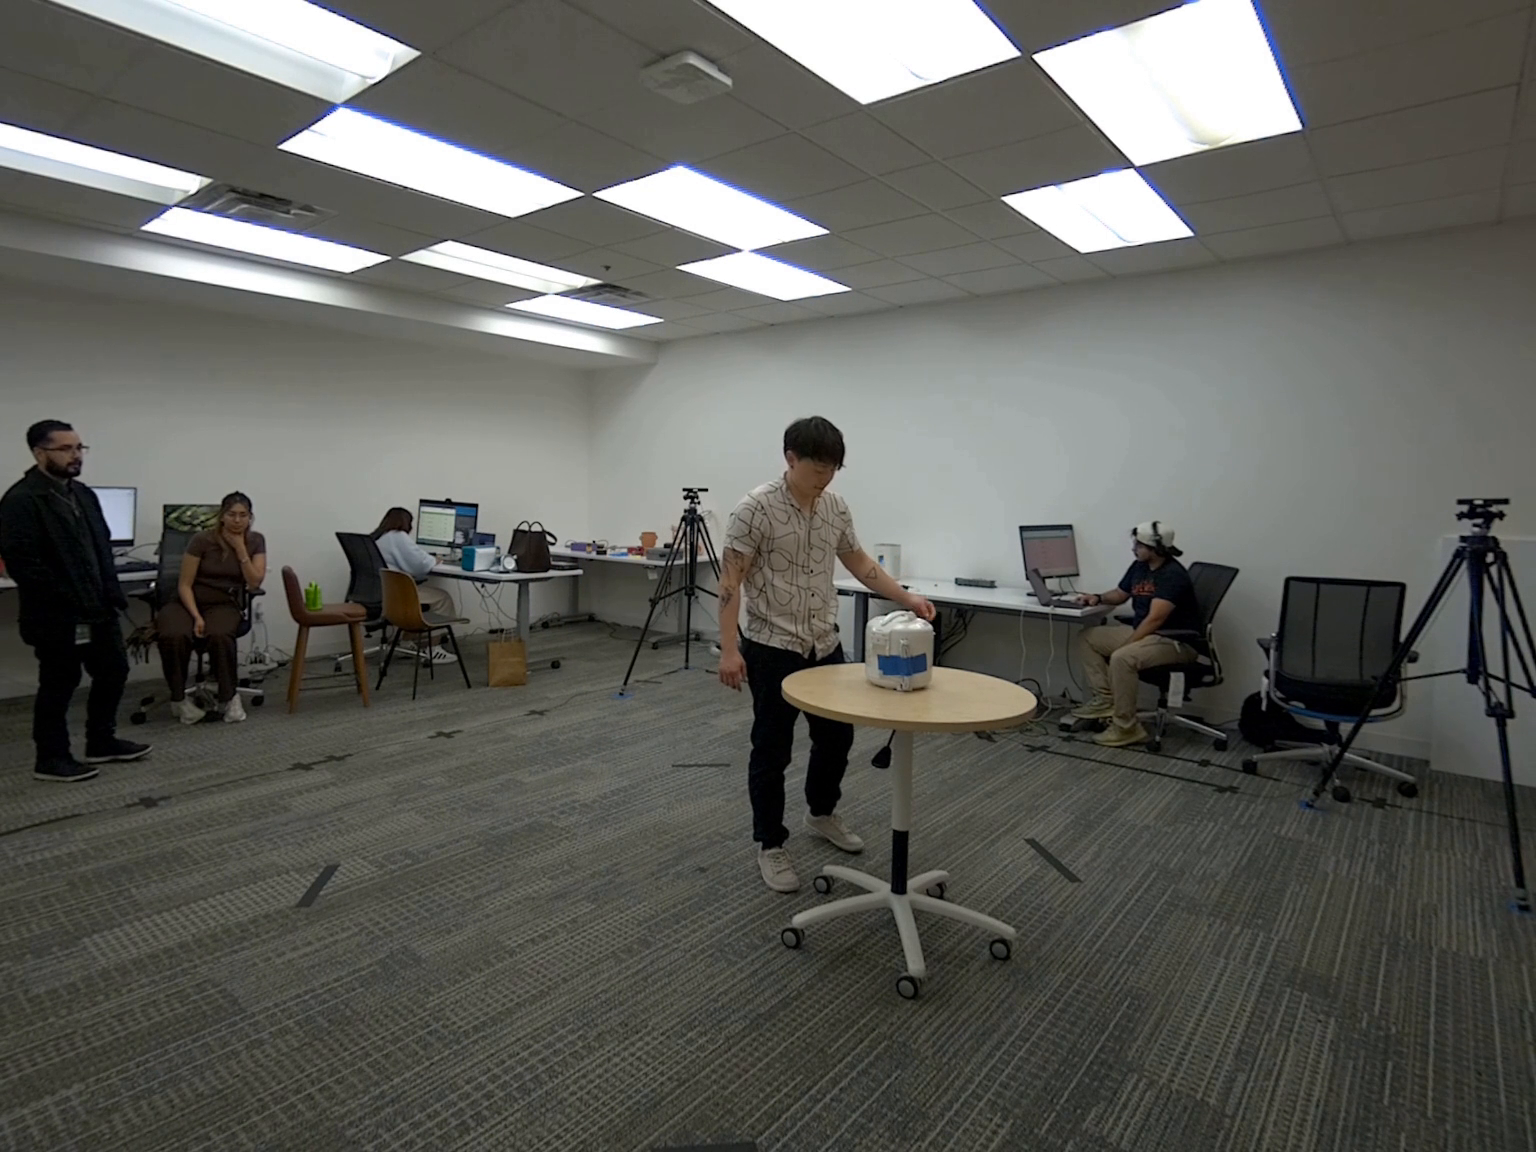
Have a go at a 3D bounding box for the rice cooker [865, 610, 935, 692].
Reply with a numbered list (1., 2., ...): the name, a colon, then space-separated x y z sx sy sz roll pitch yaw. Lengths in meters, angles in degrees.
1. rice cooker: 0.411 0.226 2.694 0.214 0.232 0.225 -1 6 -45
